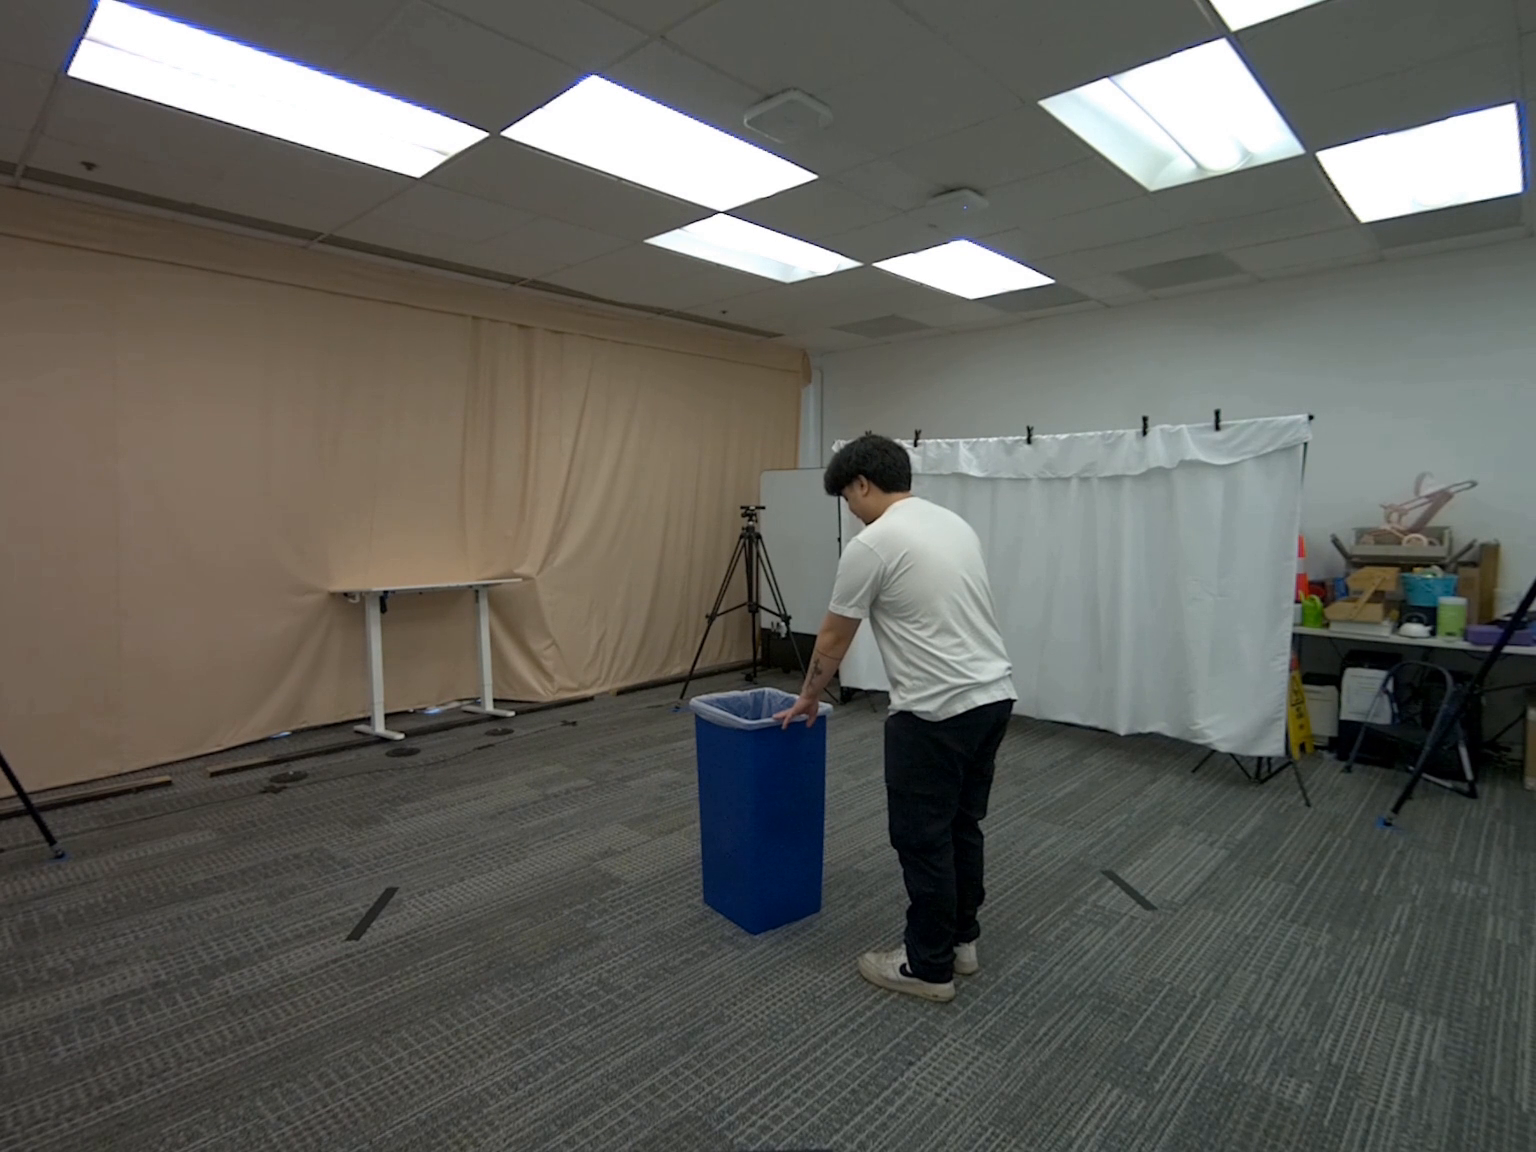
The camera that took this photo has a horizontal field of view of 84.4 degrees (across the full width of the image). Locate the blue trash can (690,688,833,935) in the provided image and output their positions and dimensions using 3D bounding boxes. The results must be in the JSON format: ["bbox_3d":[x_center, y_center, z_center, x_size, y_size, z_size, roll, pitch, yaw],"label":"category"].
[{"bbox_3d":[-0.027,0.791,2.906,0.363,0.712,0.390,-2,4,-37],"label":"blue trash can"}]
